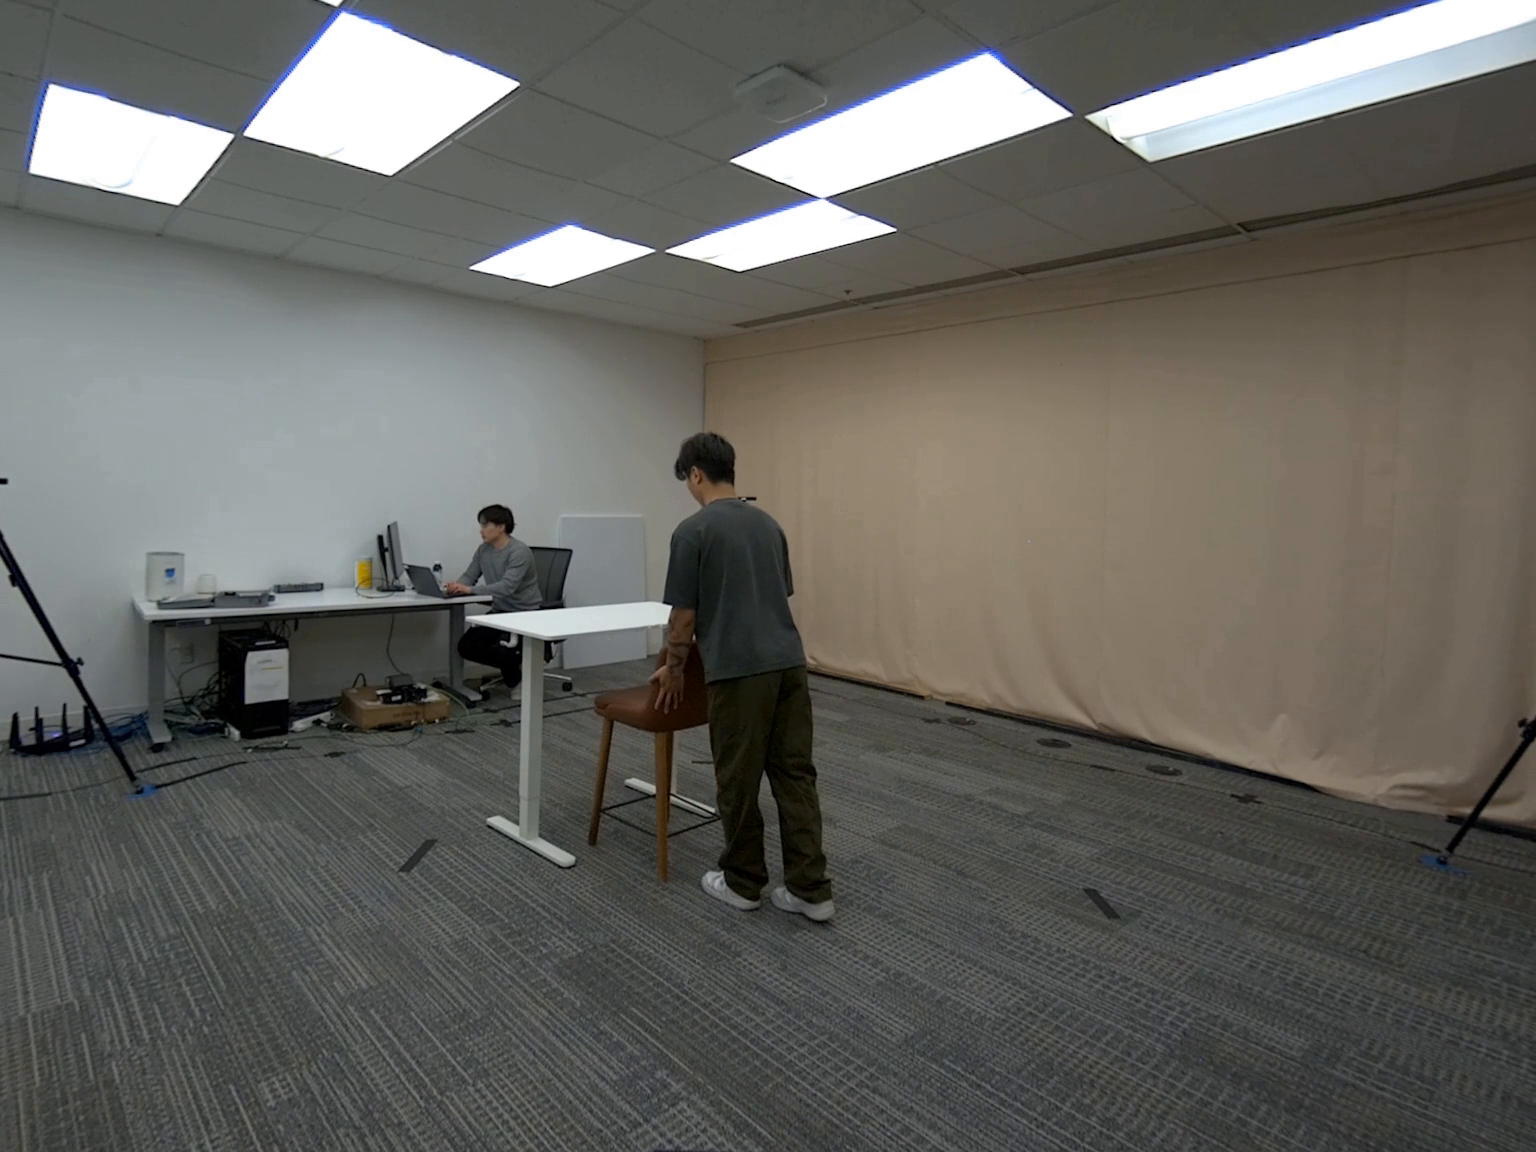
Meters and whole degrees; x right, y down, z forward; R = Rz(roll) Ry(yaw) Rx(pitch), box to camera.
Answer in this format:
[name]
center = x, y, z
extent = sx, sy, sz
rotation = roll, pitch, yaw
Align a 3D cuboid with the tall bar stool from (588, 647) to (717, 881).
[tall bar stool]
center = -0.402, 0.642, 3.299
extent = 0.480, 0.887, 0.446
rotation = 9, 7, 44
